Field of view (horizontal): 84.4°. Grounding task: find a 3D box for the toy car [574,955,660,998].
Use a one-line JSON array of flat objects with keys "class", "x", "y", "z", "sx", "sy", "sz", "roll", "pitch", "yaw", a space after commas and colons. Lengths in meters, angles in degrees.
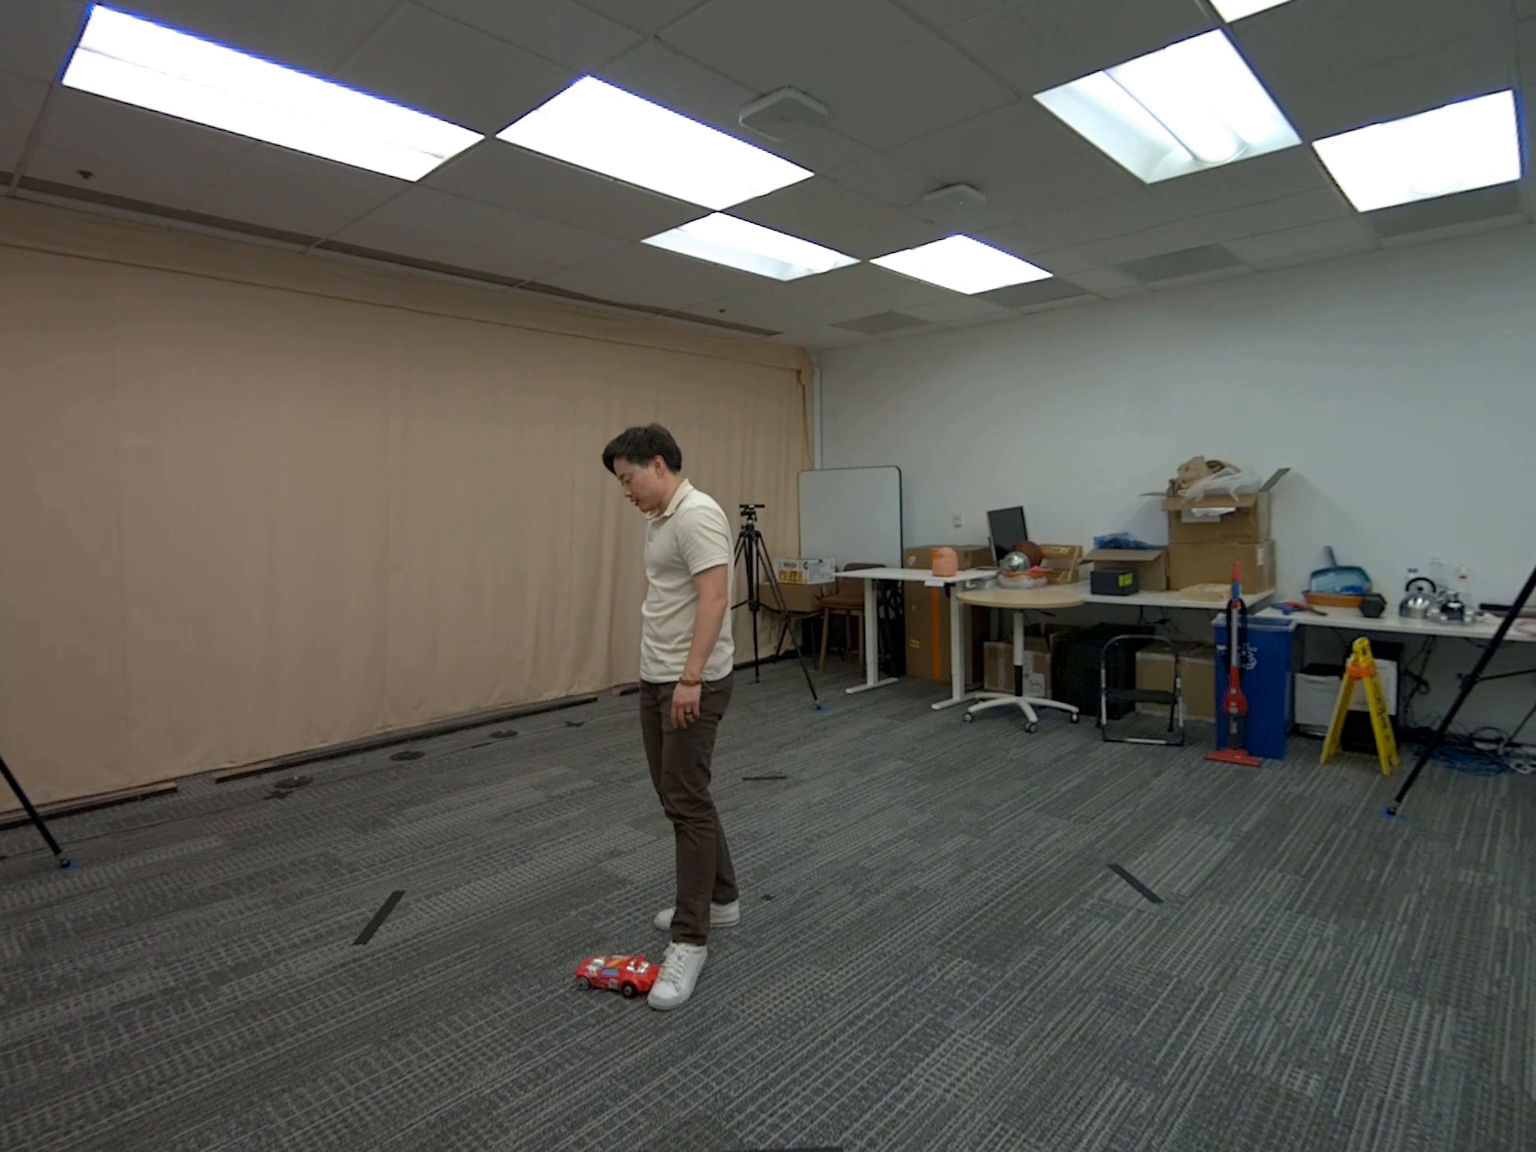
[{"class": "toy car", "x": -0.425, "y": 1.165, "z": 2.456, "sx": 0.258, "sy": 0.083, "sz": 0.128, "roll": -12, "pitch": 2, "yaw": 16}]
